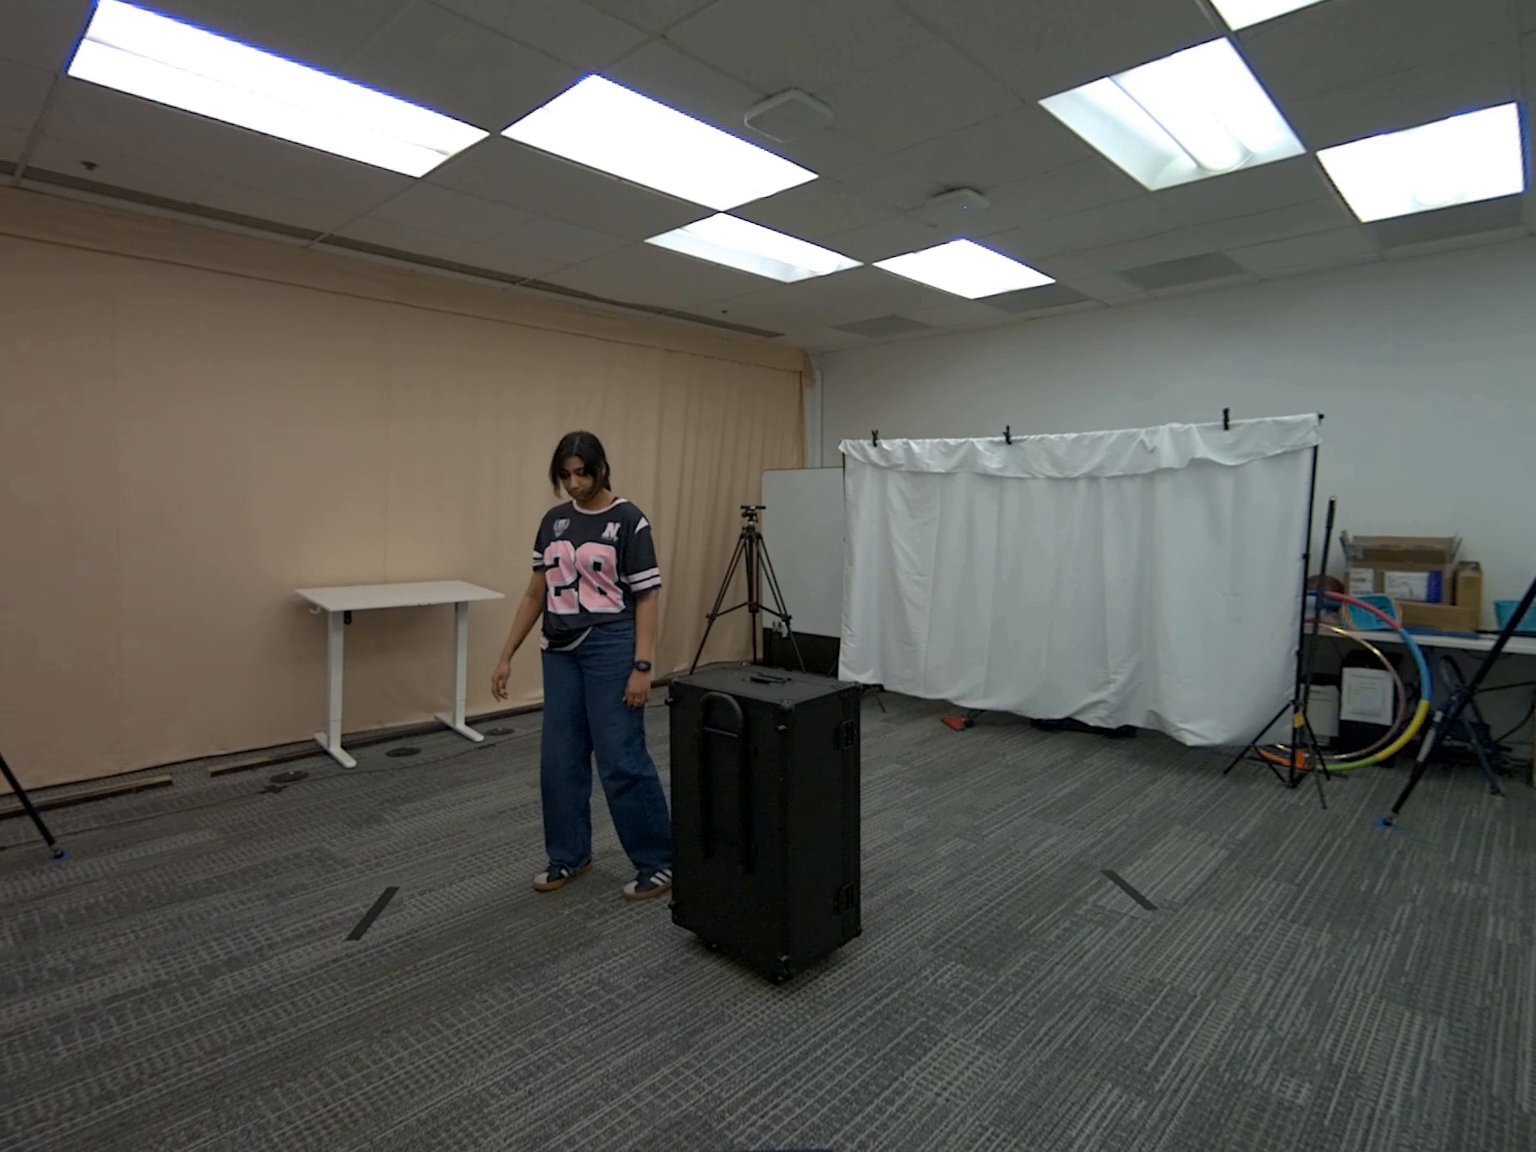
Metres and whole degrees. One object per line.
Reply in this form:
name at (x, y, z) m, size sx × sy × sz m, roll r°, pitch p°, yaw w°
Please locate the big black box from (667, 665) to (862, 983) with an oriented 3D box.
big black box at (-0.009, 0.752, 2.598) m, size 0.539 × 0.859 × 0.384 m, roll 3°, pitch 6°, yaw 43°
